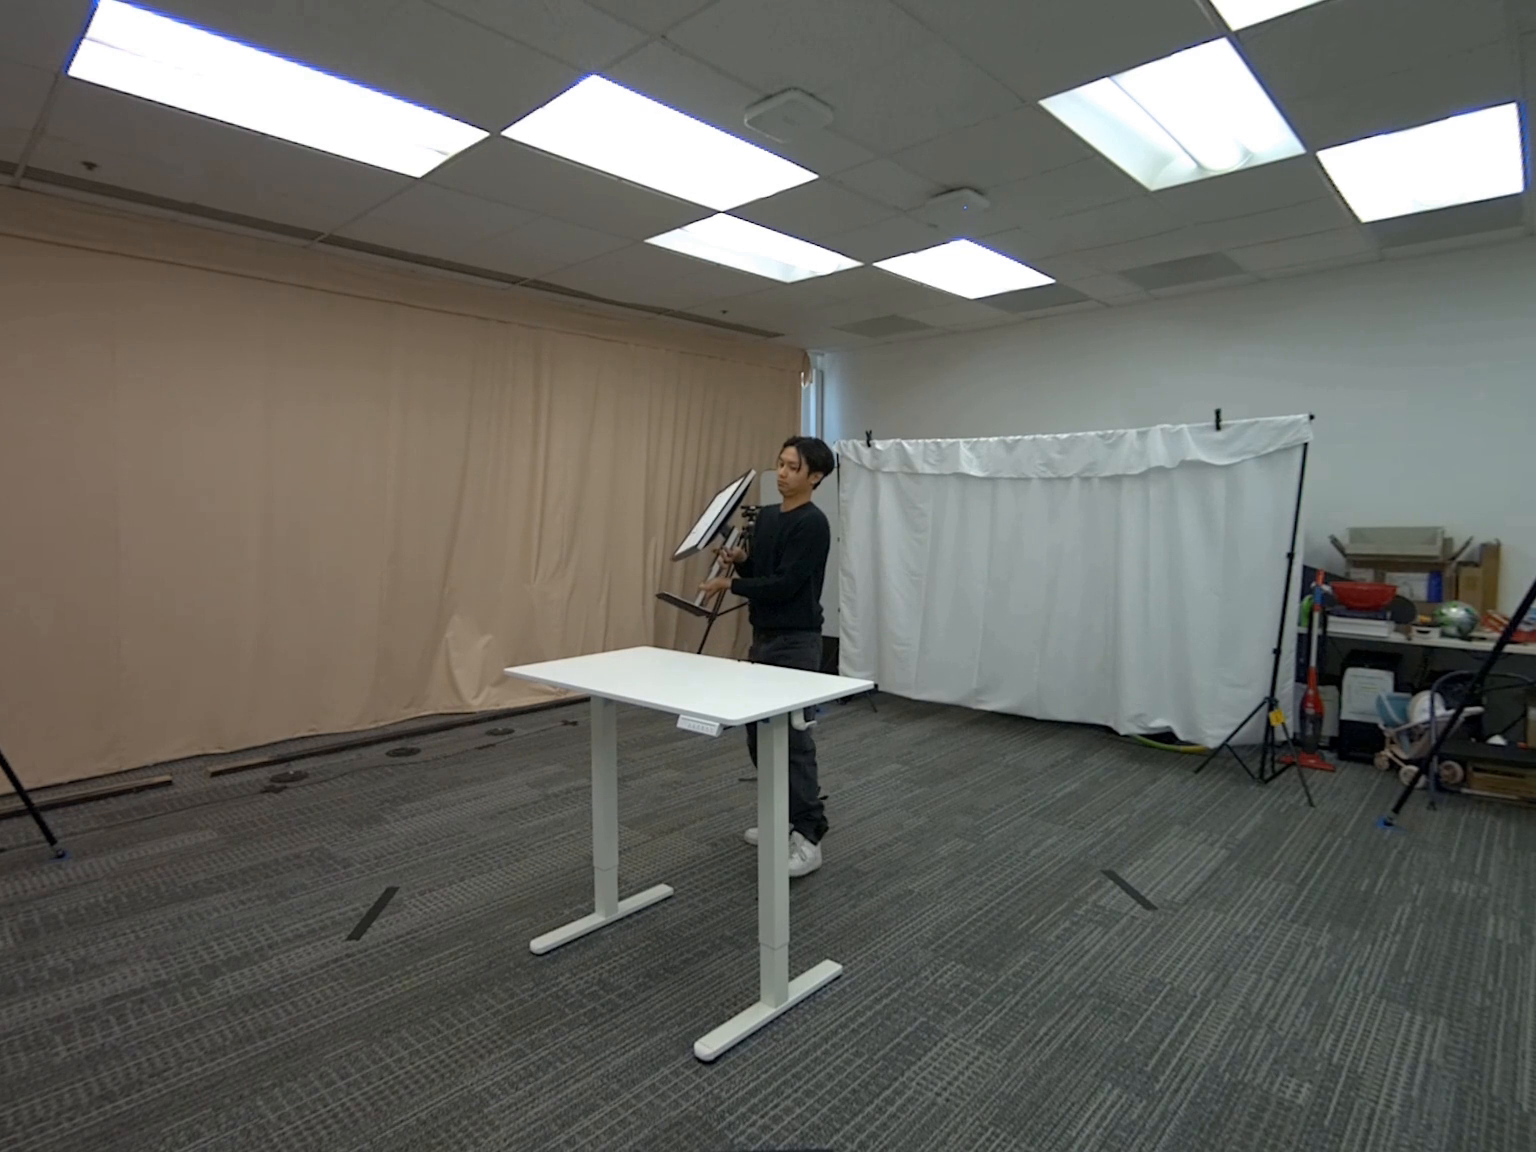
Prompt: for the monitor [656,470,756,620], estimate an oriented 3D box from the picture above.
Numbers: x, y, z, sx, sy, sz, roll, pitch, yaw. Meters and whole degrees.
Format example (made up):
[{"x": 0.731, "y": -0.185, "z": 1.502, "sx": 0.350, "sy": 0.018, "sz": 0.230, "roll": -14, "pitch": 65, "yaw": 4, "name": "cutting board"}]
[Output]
[{"x": -0.226, "y": -0.126, "z": 3.326, "sx": 0.184, "sy": 0.523, "sz": 0.547, "roll": 24, "pitch": -10, "yaw": -15, "name": "monitor"}]
